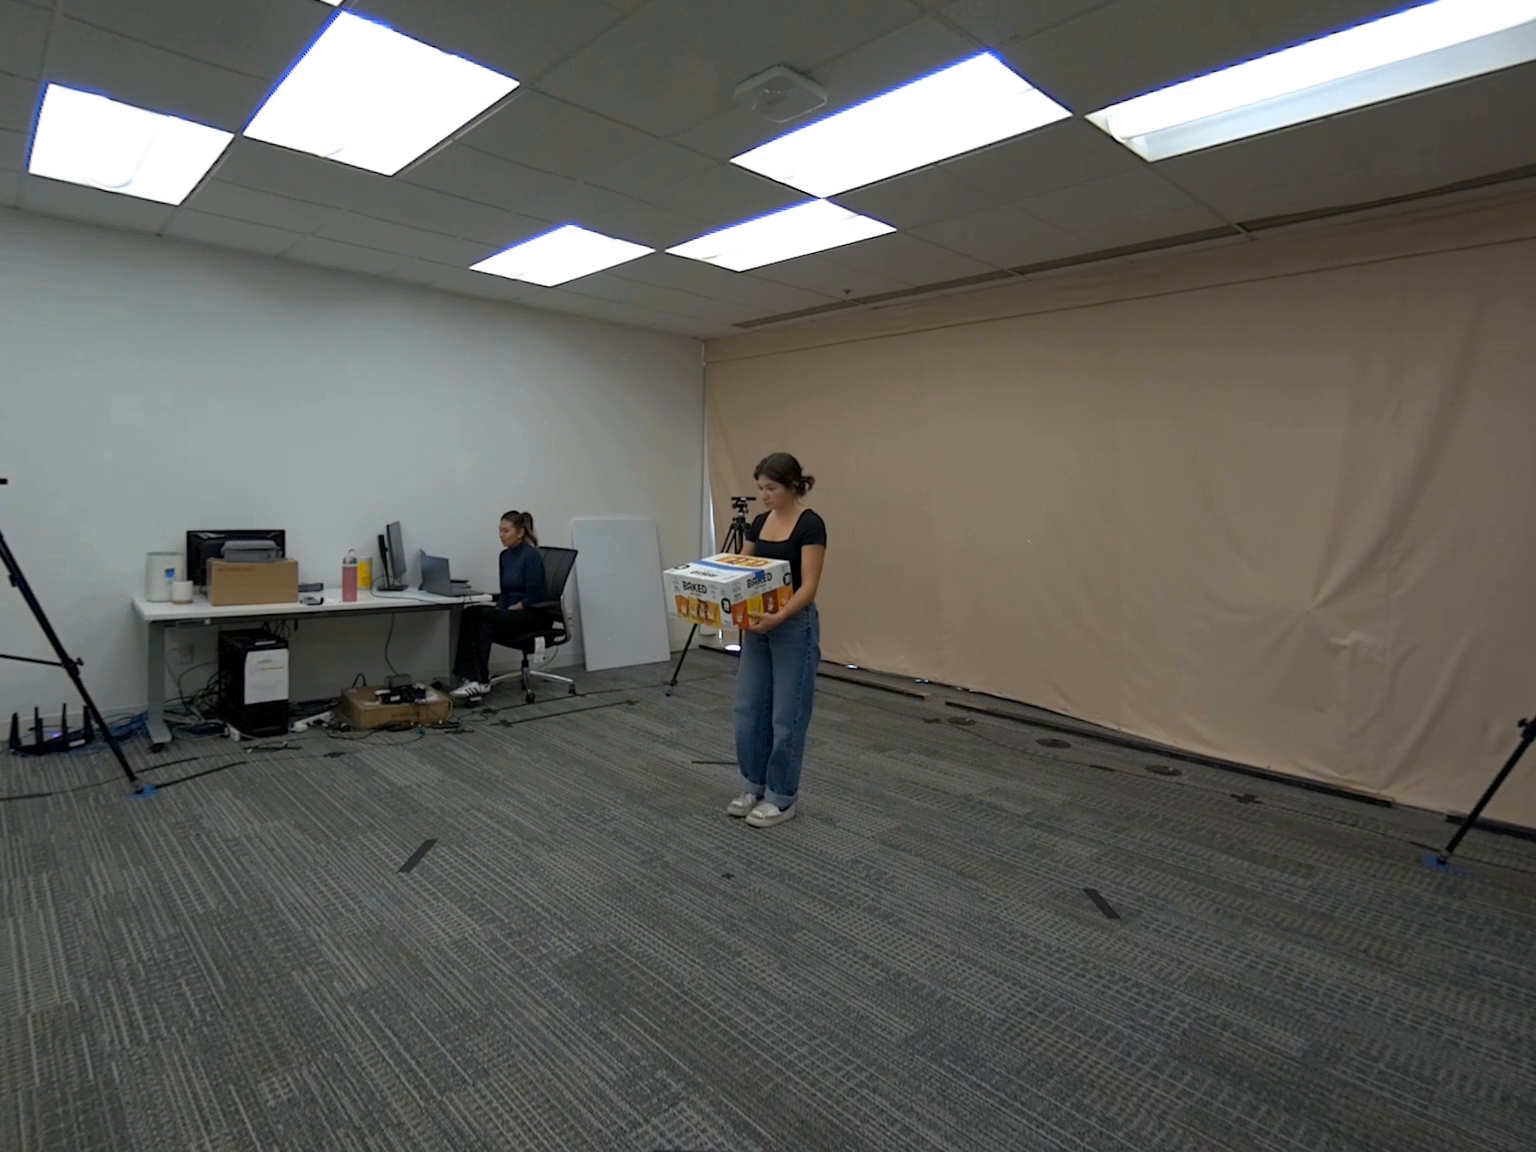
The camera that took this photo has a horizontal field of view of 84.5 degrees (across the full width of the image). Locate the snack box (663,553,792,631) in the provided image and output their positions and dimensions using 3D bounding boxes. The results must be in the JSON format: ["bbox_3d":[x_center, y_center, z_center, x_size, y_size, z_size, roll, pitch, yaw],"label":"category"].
[{"bbox_3d":[-0.169,0.061,3.456,0.335,0.203,0.416,-19,19,-40],"label":"snack box"}]
